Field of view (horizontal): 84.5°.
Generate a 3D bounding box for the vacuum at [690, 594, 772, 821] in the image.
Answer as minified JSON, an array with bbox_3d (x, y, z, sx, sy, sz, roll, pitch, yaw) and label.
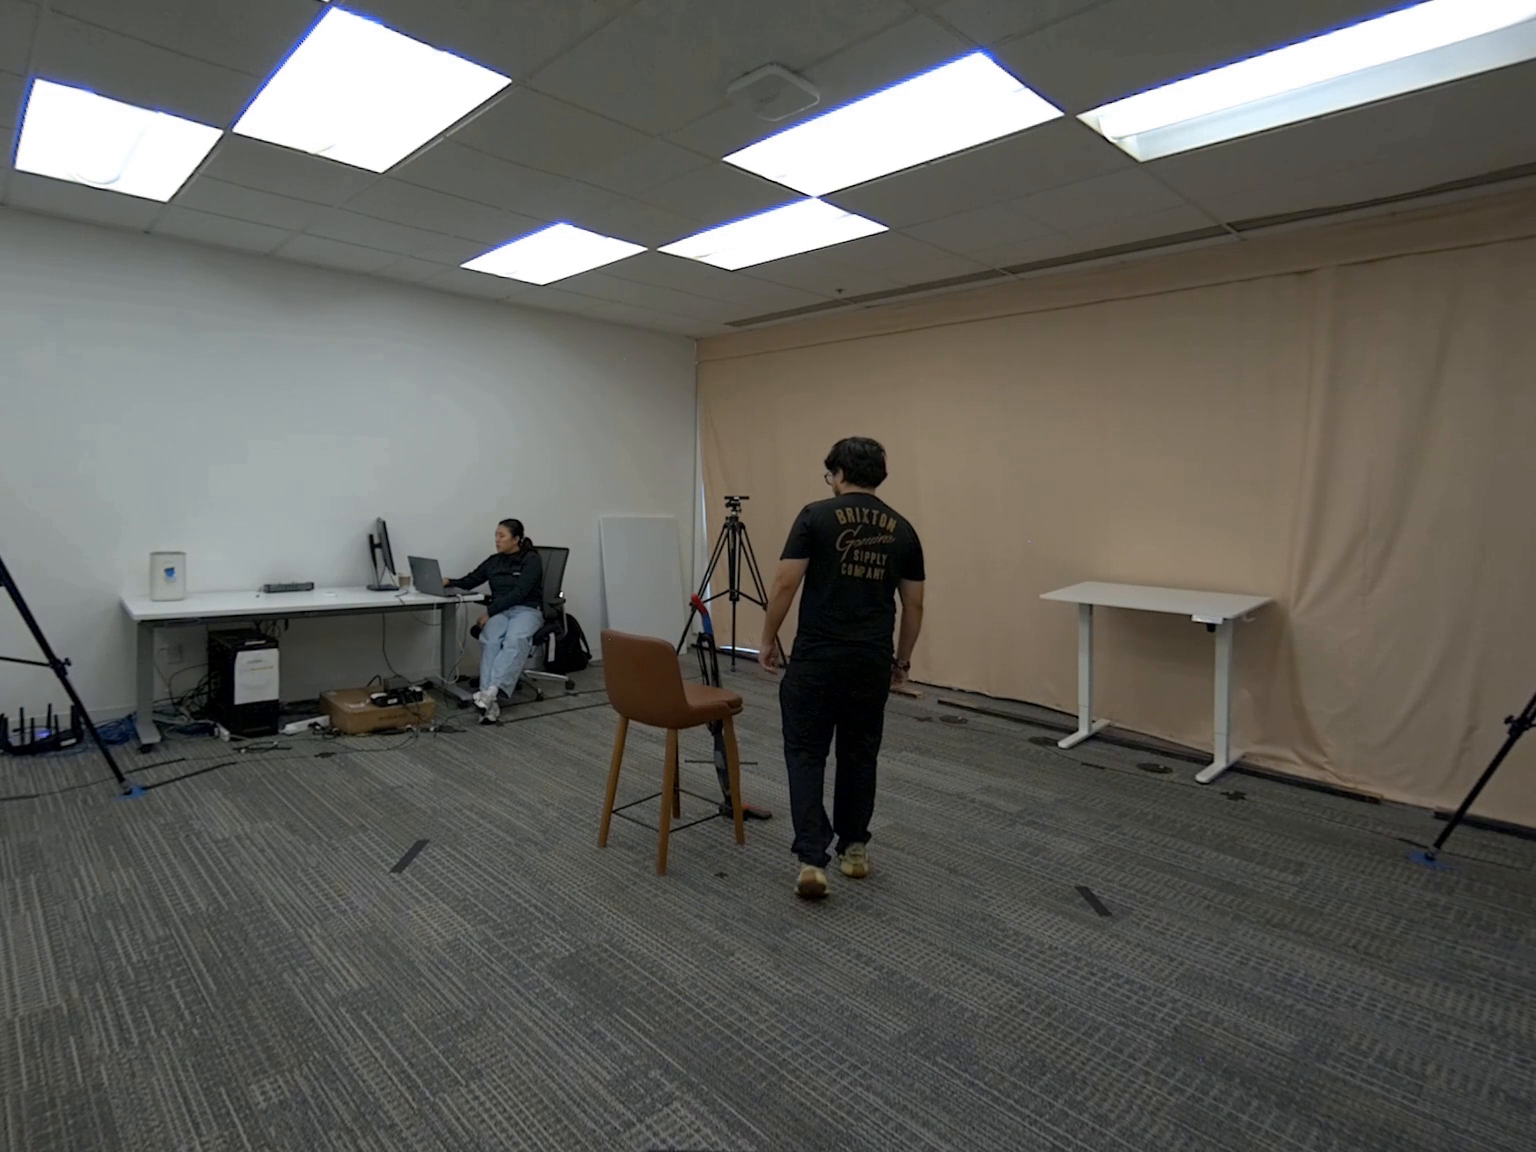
[{"bbox_3d":[-0.213,0.568,3.554,0.258,1.033,0.143,2,22,35],"label":"vacuum"}]
